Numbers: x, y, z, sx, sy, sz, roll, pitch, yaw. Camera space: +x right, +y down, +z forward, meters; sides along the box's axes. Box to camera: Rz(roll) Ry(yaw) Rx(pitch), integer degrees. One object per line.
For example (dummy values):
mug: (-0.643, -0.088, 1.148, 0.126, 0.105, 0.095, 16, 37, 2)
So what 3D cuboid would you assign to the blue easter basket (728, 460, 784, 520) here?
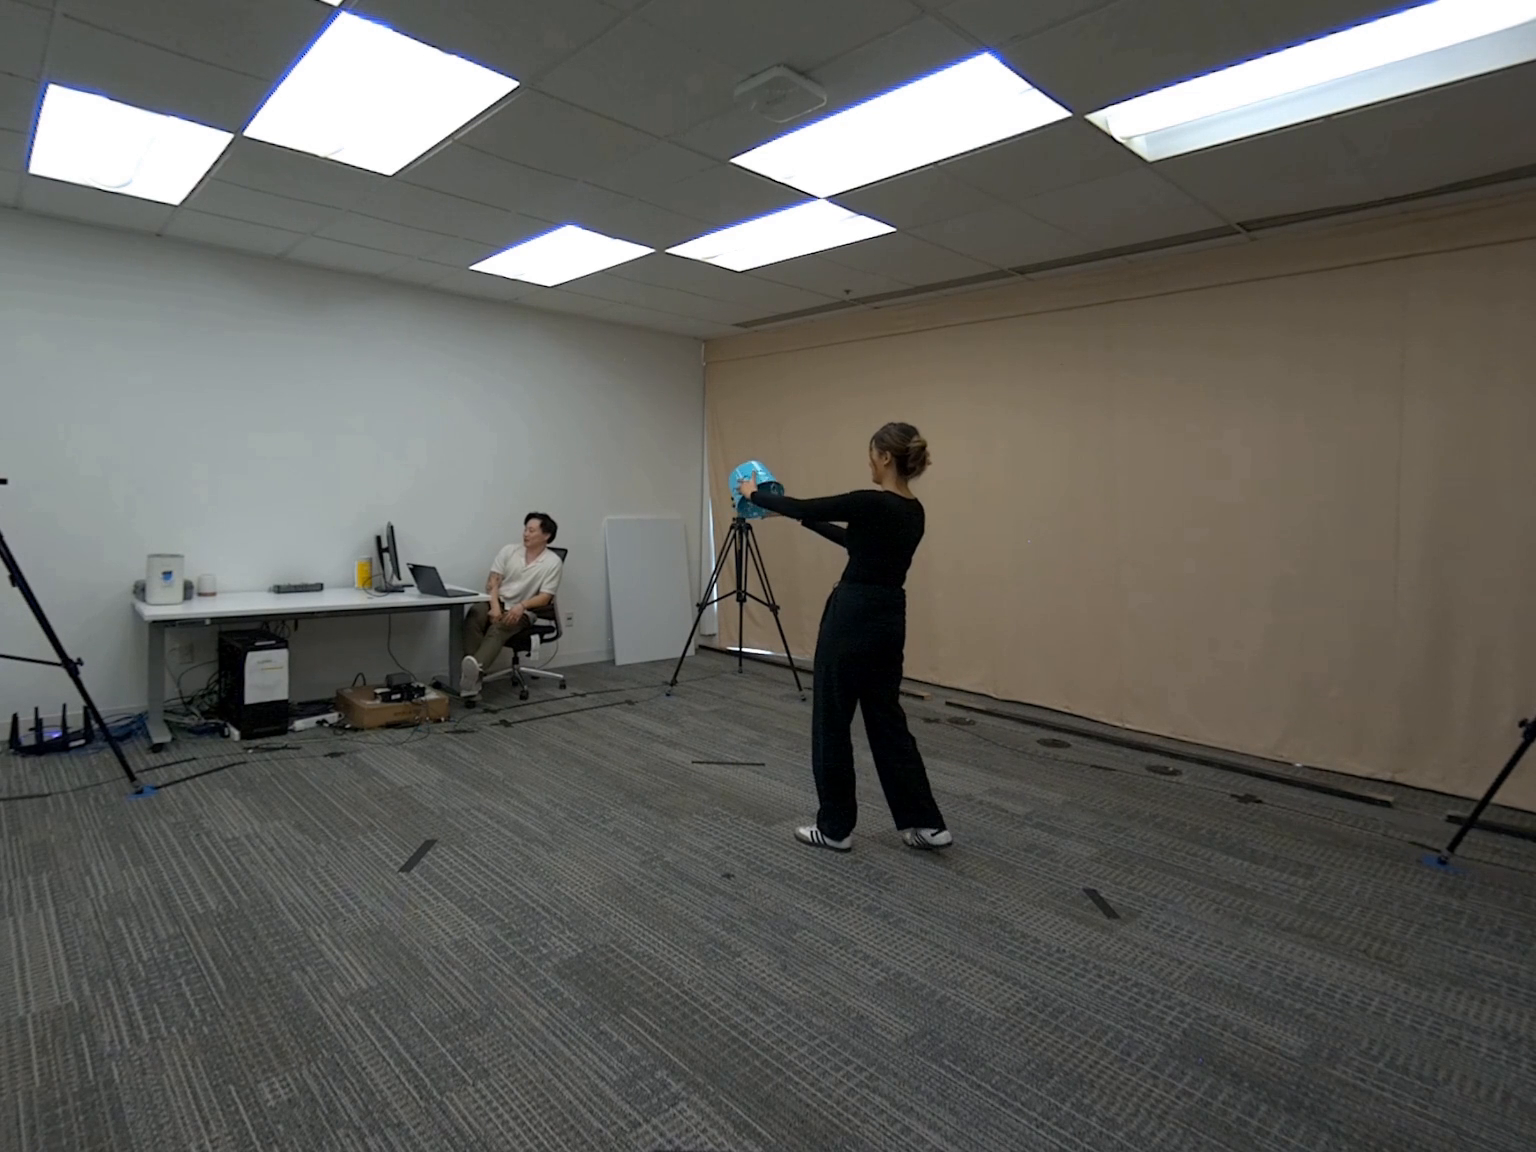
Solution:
blue easter basket: (-0.072, -0.384, 3.686, 0.242, 0.160, 0.238, -19, -32, -14)
